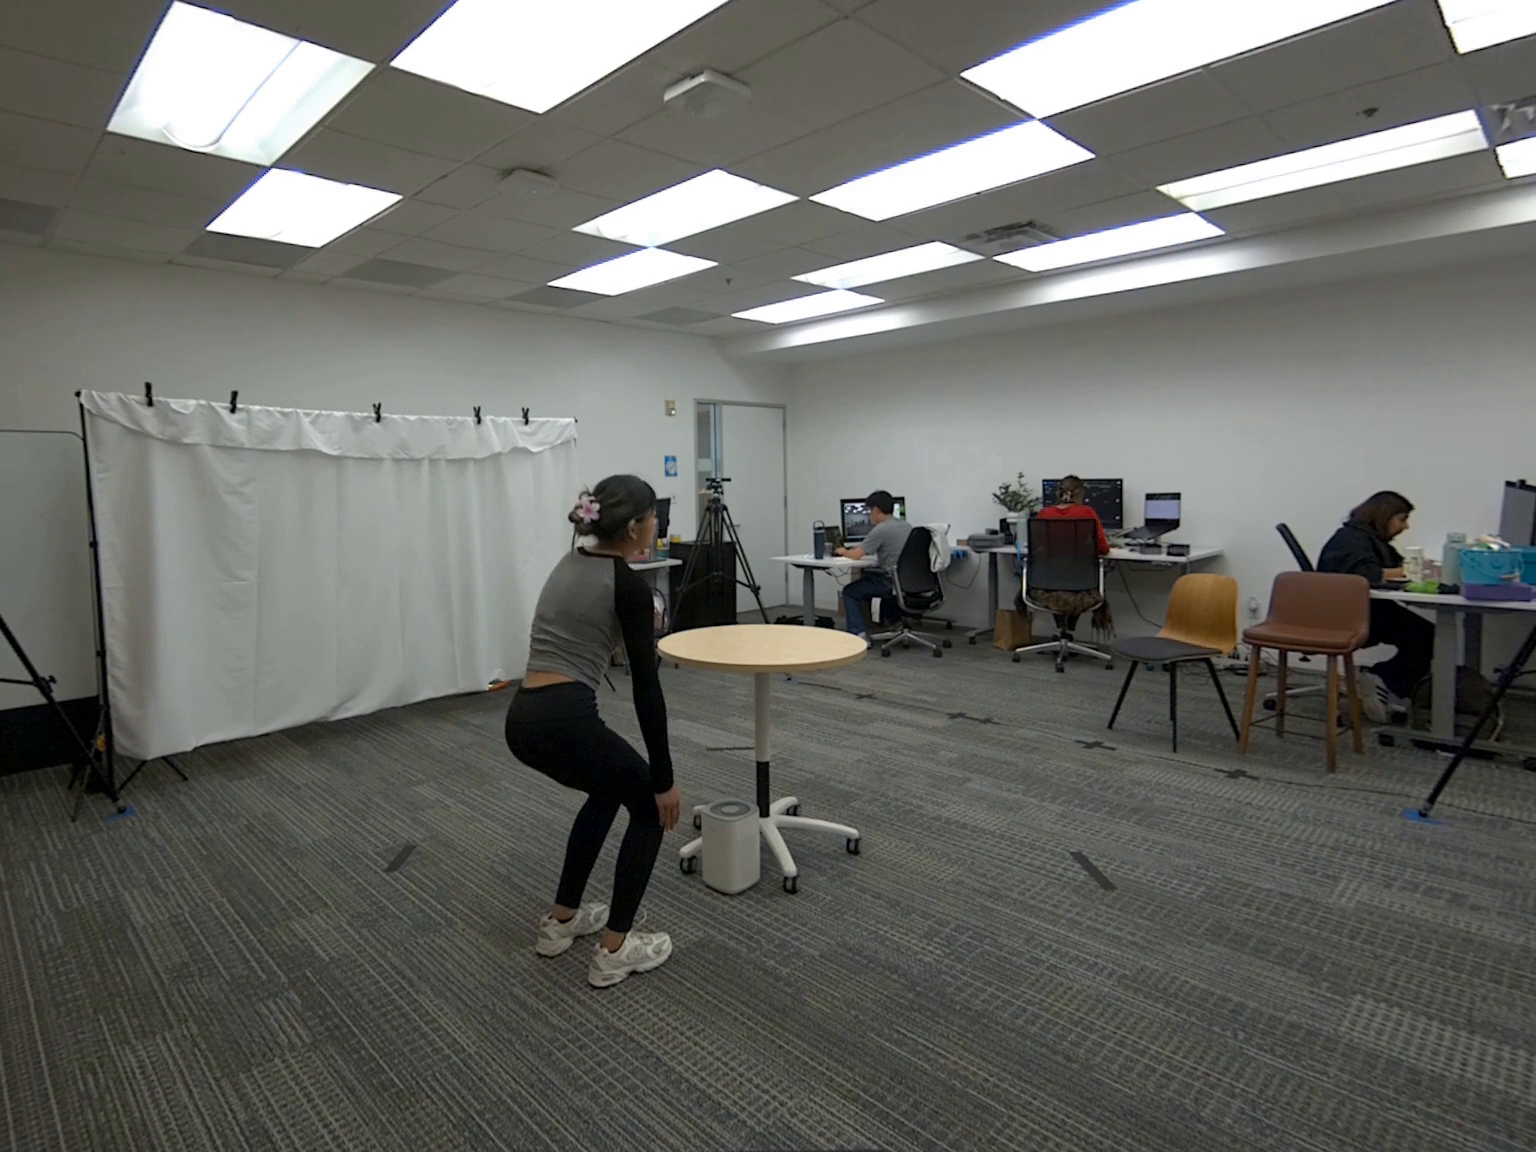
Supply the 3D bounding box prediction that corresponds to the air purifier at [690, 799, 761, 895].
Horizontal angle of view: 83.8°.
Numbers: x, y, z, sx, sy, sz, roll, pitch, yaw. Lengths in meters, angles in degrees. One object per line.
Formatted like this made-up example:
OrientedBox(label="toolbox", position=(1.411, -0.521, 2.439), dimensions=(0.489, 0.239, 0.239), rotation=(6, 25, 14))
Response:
OrientedBox(label="air purifier", position=(-0.125, 0.928, 2.937), dimensions=(0.176, 0.264, 0.167), rotation=(3, 5, 40))
